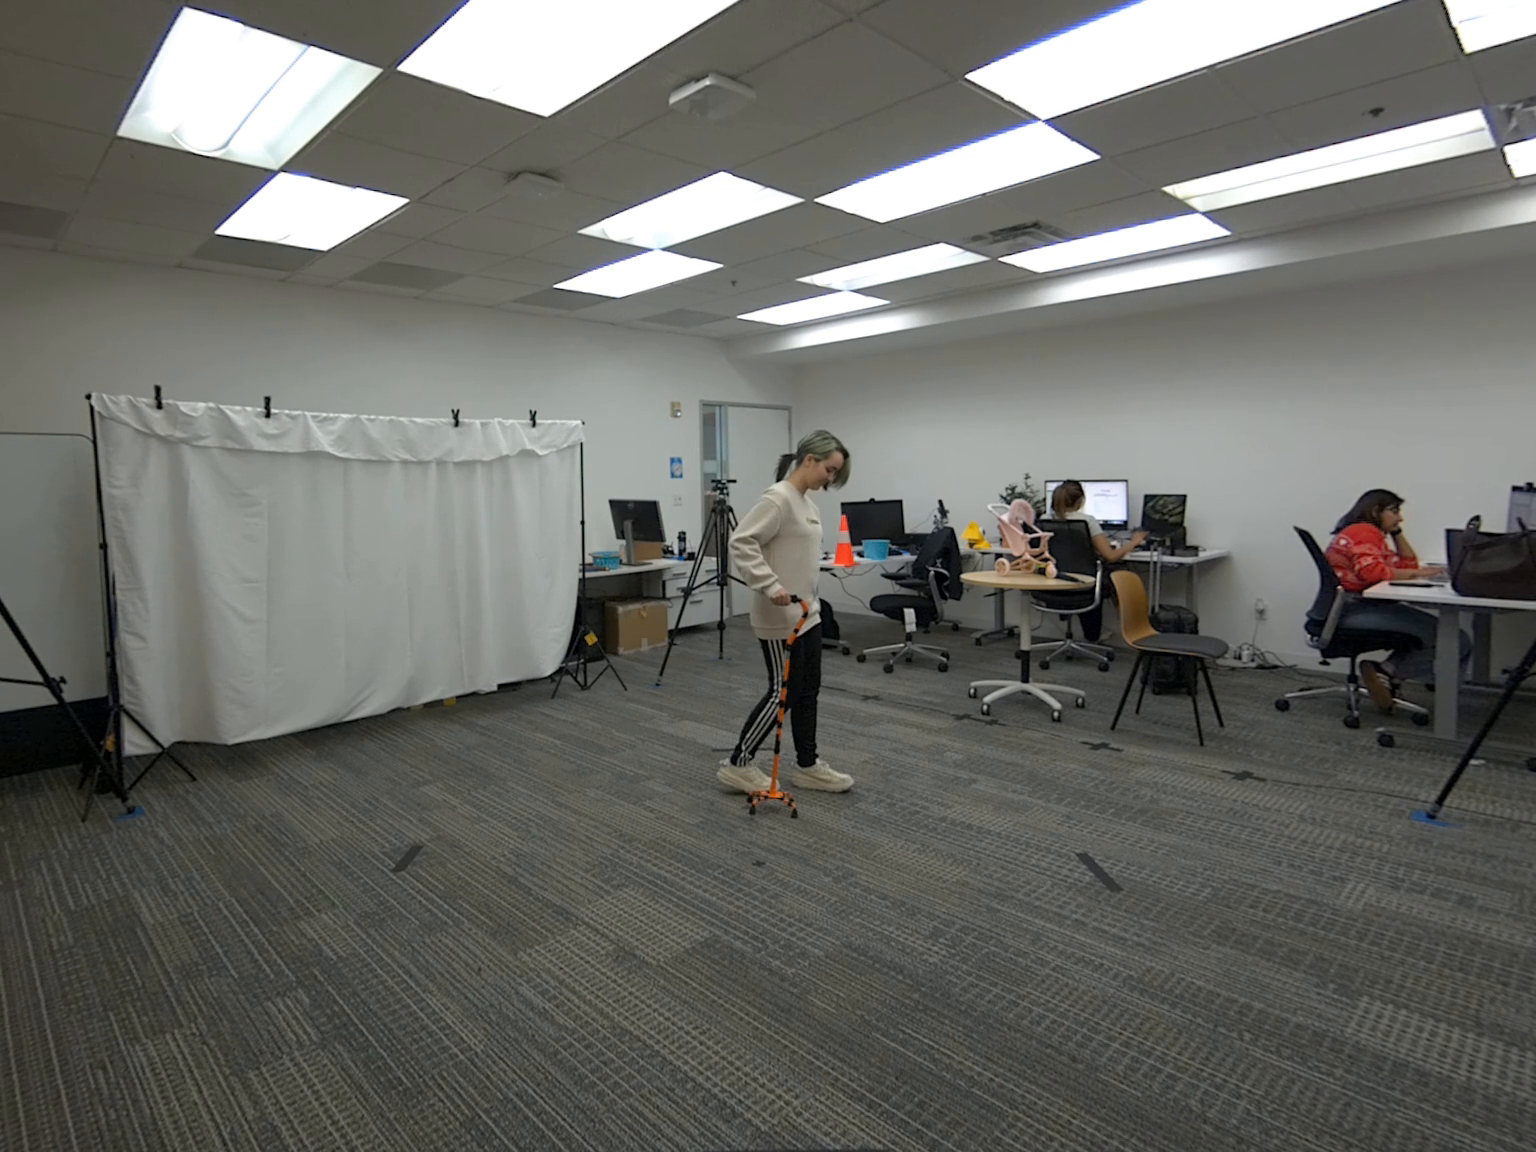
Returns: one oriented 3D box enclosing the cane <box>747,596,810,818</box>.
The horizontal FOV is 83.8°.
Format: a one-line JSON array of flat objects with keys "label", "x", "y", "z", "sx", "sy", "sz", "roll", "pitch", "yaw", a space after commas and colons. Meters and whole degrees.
[{"label": "cane", "x": 0.064, "y": 0.539, "z": 3.542, "sx": 0.205, "sy": 0.903, "sz": 0.153, "roll": 5, "pitch": 7, "yaw": -6}]
